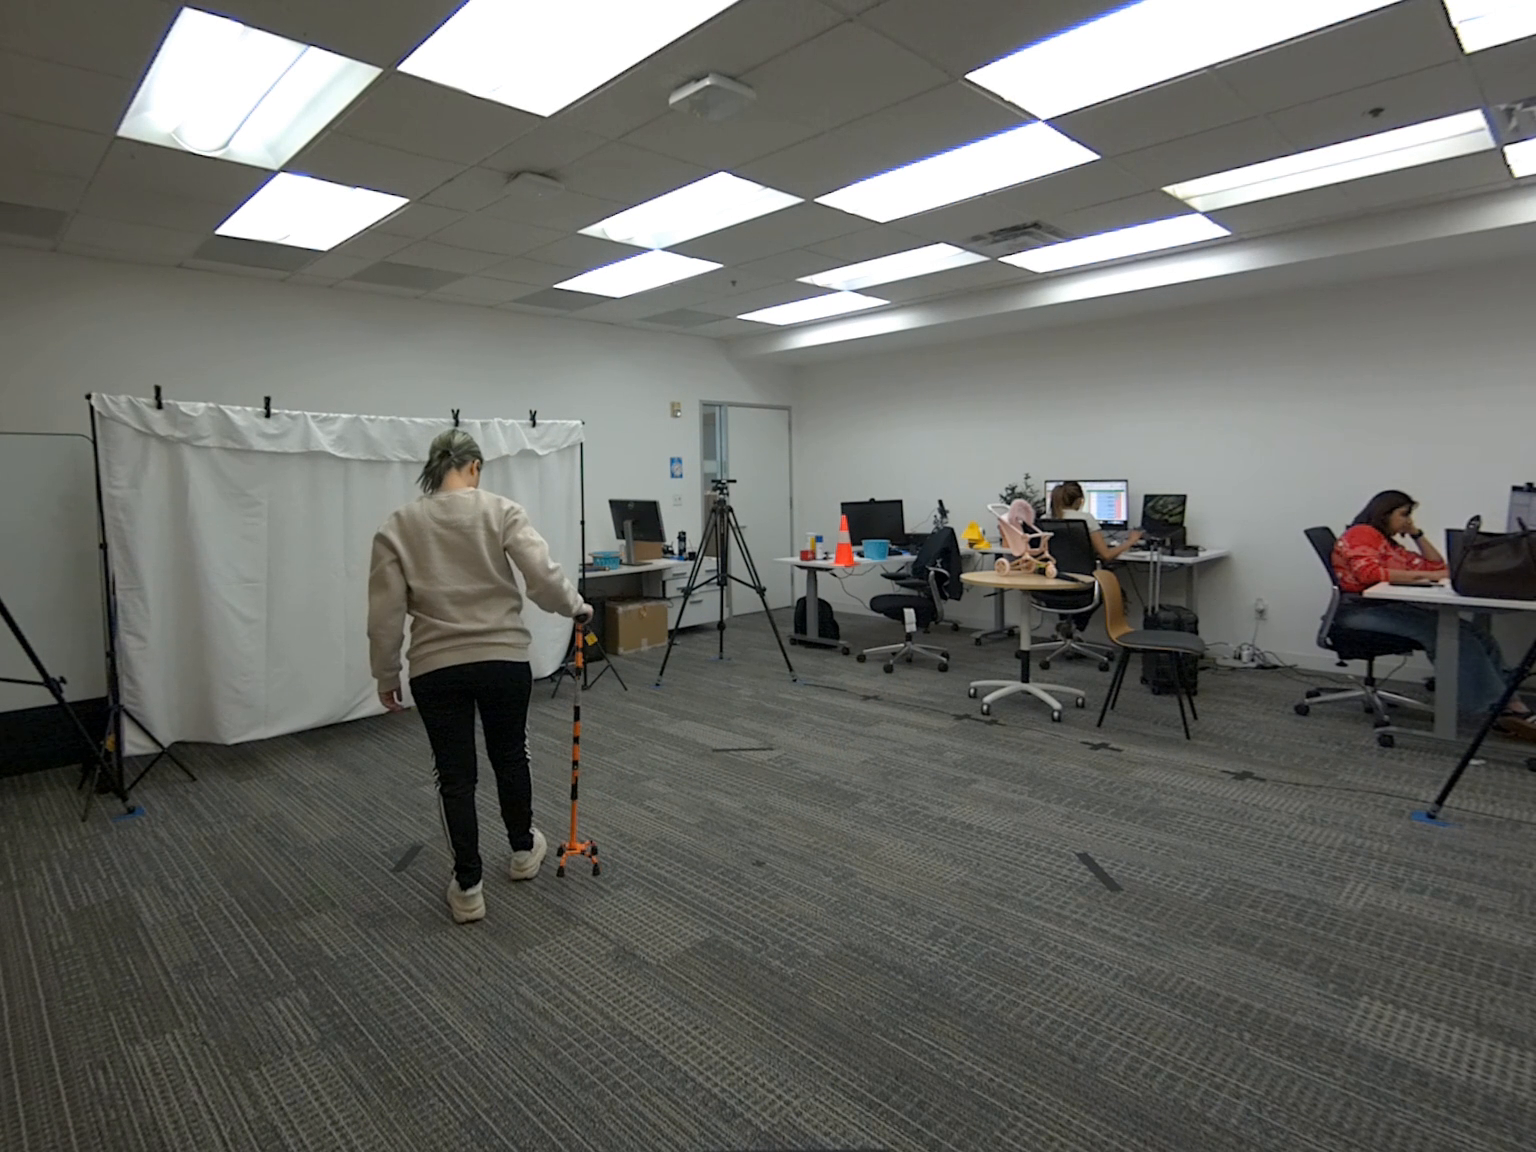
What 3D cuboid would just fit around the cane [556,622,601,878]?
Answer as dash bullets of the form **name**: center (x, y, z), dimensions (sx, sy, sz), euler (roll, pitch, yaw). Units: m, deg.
- **cane**: center (-0.659, 0.577, 3.042), dimensions (0.149, 0.907, 0.209), euler (1, 0, -15)
